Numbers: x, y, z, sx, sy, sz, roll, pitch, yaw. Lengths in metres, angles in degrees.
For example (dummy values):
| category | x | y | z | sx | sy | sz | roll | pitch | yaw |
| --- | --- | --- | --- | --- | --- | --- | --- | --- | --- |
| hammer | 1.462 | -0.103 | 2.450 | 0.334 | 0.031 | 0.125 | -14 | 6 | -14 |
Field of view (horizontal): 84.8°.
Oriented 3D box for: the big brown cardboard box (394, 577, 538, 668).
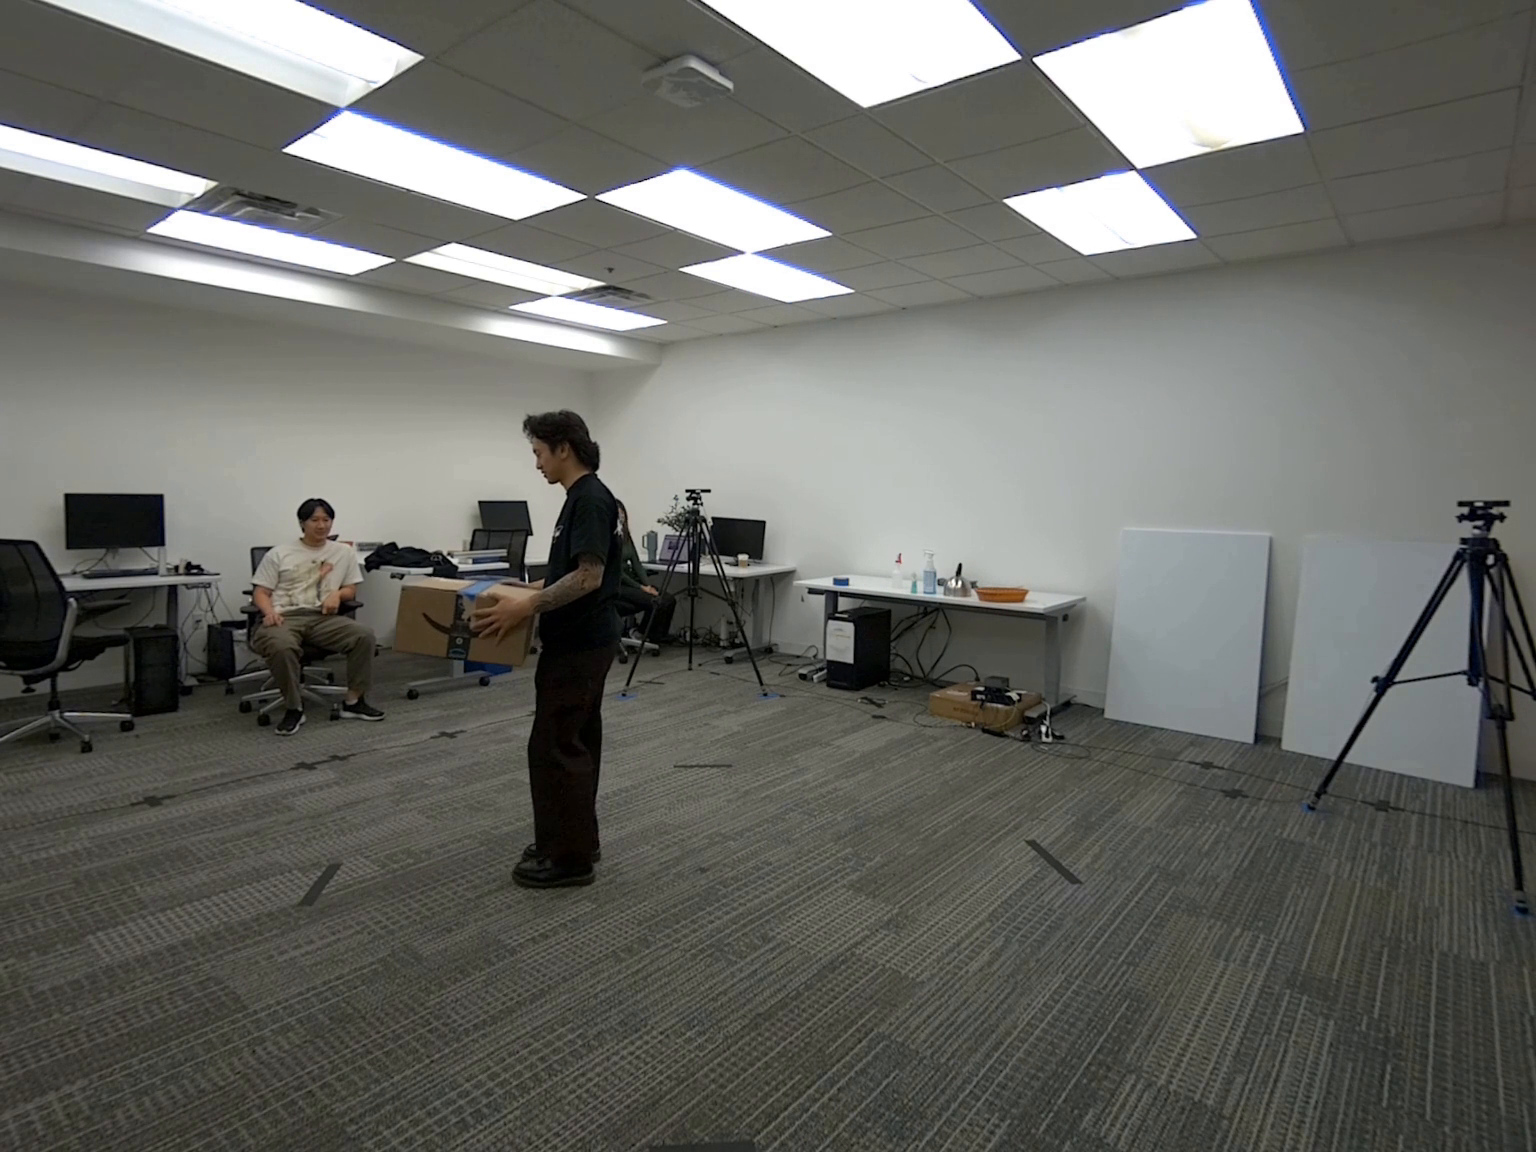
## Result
| category | x | y | z | sx | sy | sz | roll | pitch | yaw |
| --- | --- | --- | --- | --- | --- | --- | --- | --- | --- |
| big brown cardboard box | -1.043 | 0.142 | 3.030 | 0.413 | 0.233 | 0.596 | 7 | 2 | -11 |
